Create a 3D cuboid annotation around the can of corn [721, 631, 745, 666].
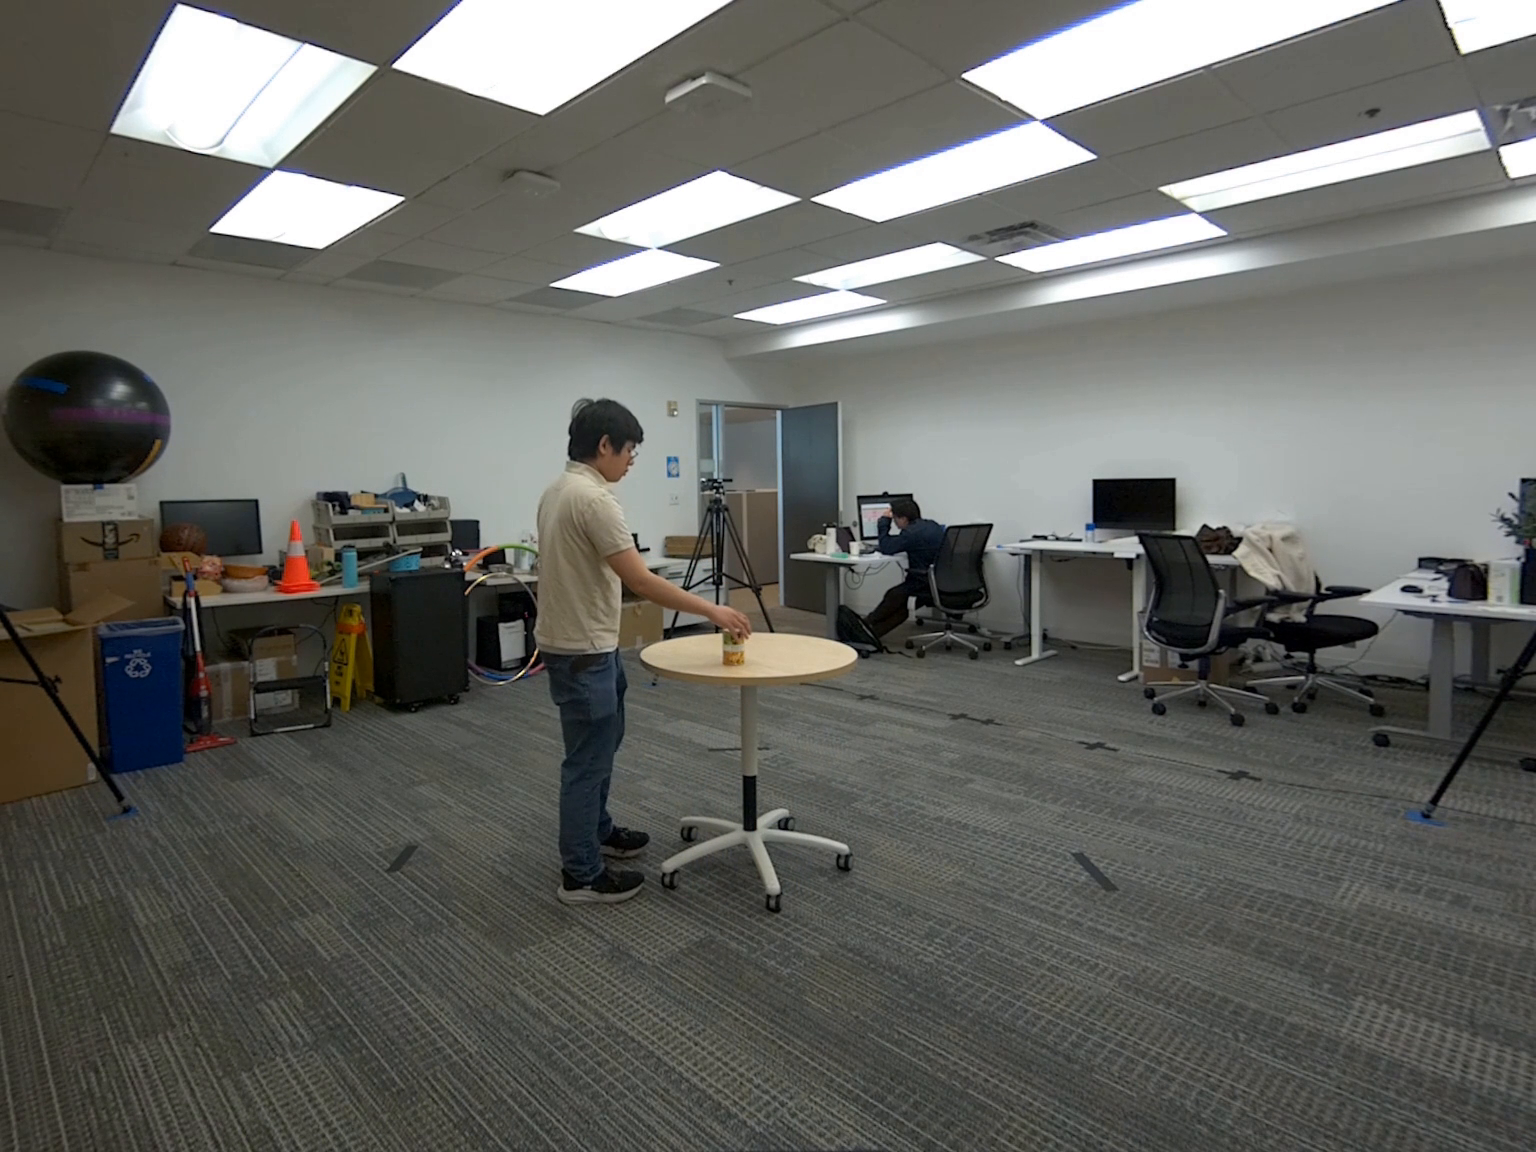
[{"bbox_3d":[-0.115,0.235,2.849,0.074,0.111,0.074,-2,4,-1],"label":"can of corn"}]
